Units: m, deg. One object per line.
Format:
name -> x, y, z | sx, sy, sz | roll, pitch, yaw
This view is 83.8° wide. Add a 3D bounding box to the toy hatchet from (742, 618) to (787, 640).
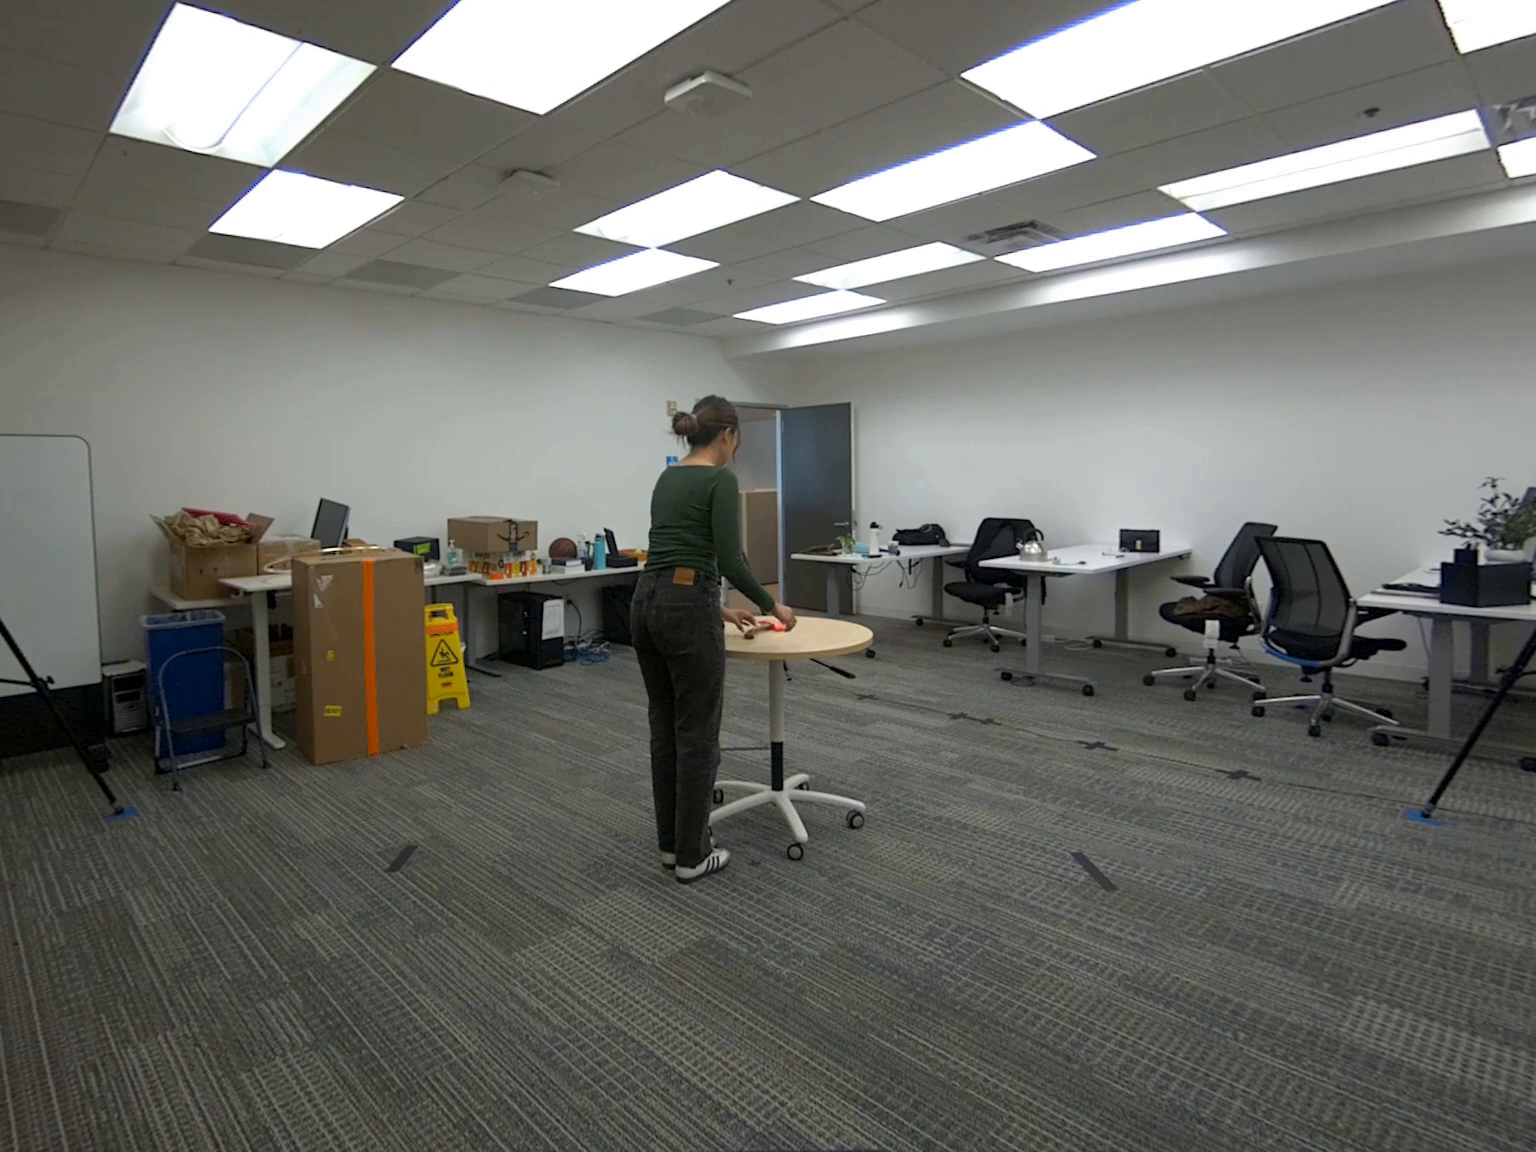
toy hatchet -> -0.008, 0.218, 3.391 | 0.133, 0.029, 0.268 | 6, 10, 12
